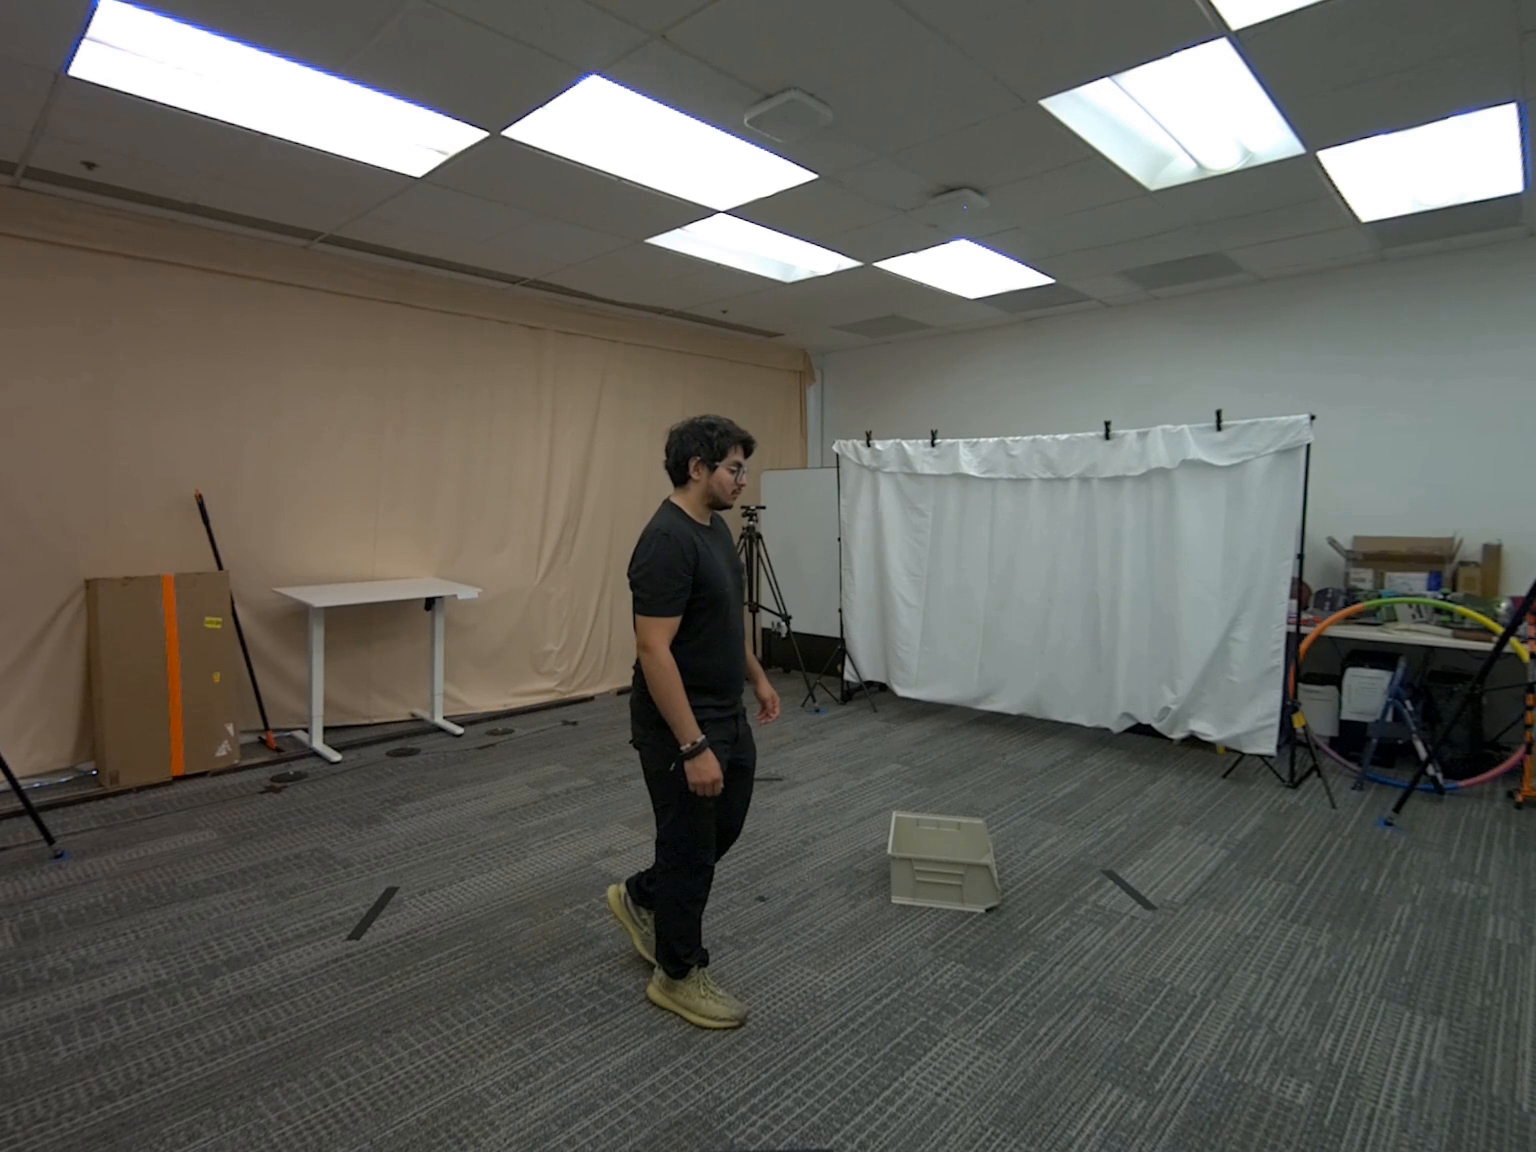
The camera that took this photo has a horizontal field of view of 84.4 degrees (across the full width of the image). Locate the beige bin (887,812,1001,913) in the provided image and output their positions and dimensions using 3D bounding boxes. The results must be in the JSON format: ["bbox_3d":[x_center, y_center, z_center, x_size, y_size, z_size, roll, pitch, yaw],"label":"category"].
[{"bbox_3d":[0.650,1.044,3.099,0.383,0.188,0.417,0,5,12],"label":"beige bin"}]
